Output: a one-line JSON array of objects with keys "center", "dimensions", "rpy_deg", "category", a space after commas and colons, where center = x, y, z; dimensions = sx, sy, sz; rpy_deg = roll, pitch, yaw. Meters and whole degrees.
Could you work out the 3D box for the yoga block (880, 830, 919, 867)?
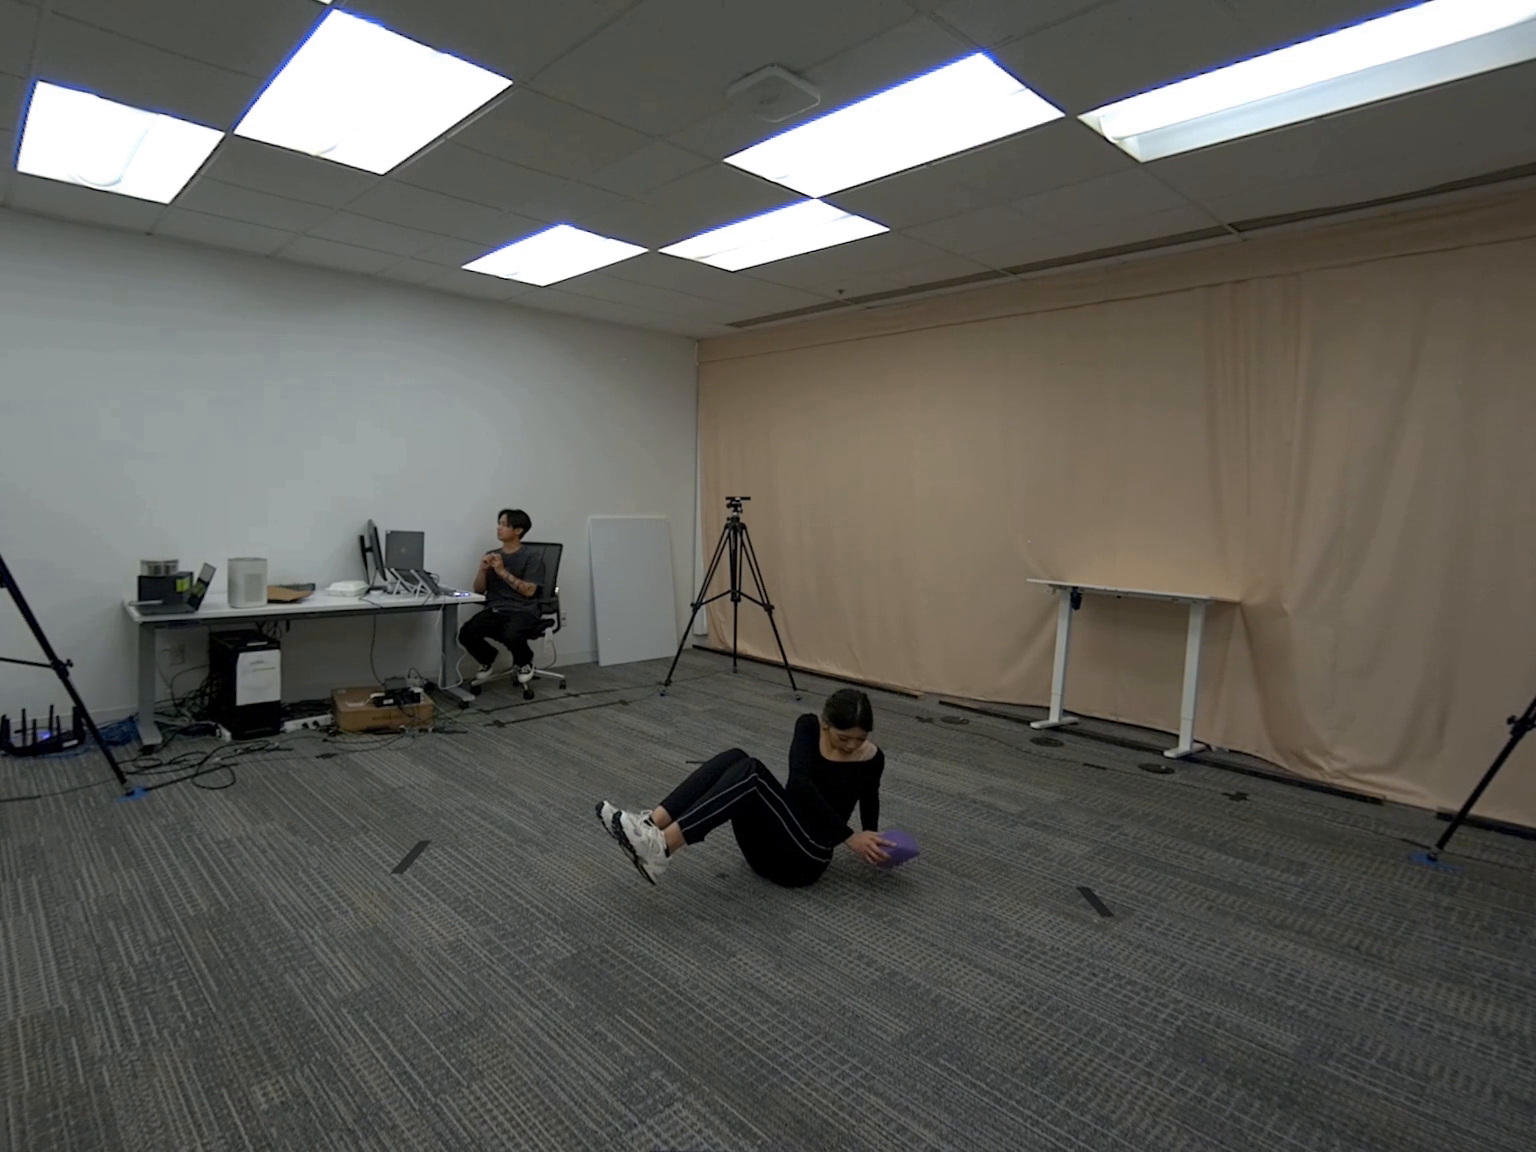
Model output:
[{"center": [0.430, 0.981, 3.044], "dimensions": [0.150, 0.078, 0.222], "rpy_deg": [-28, -32, 15], "category": "yoga block"}]
